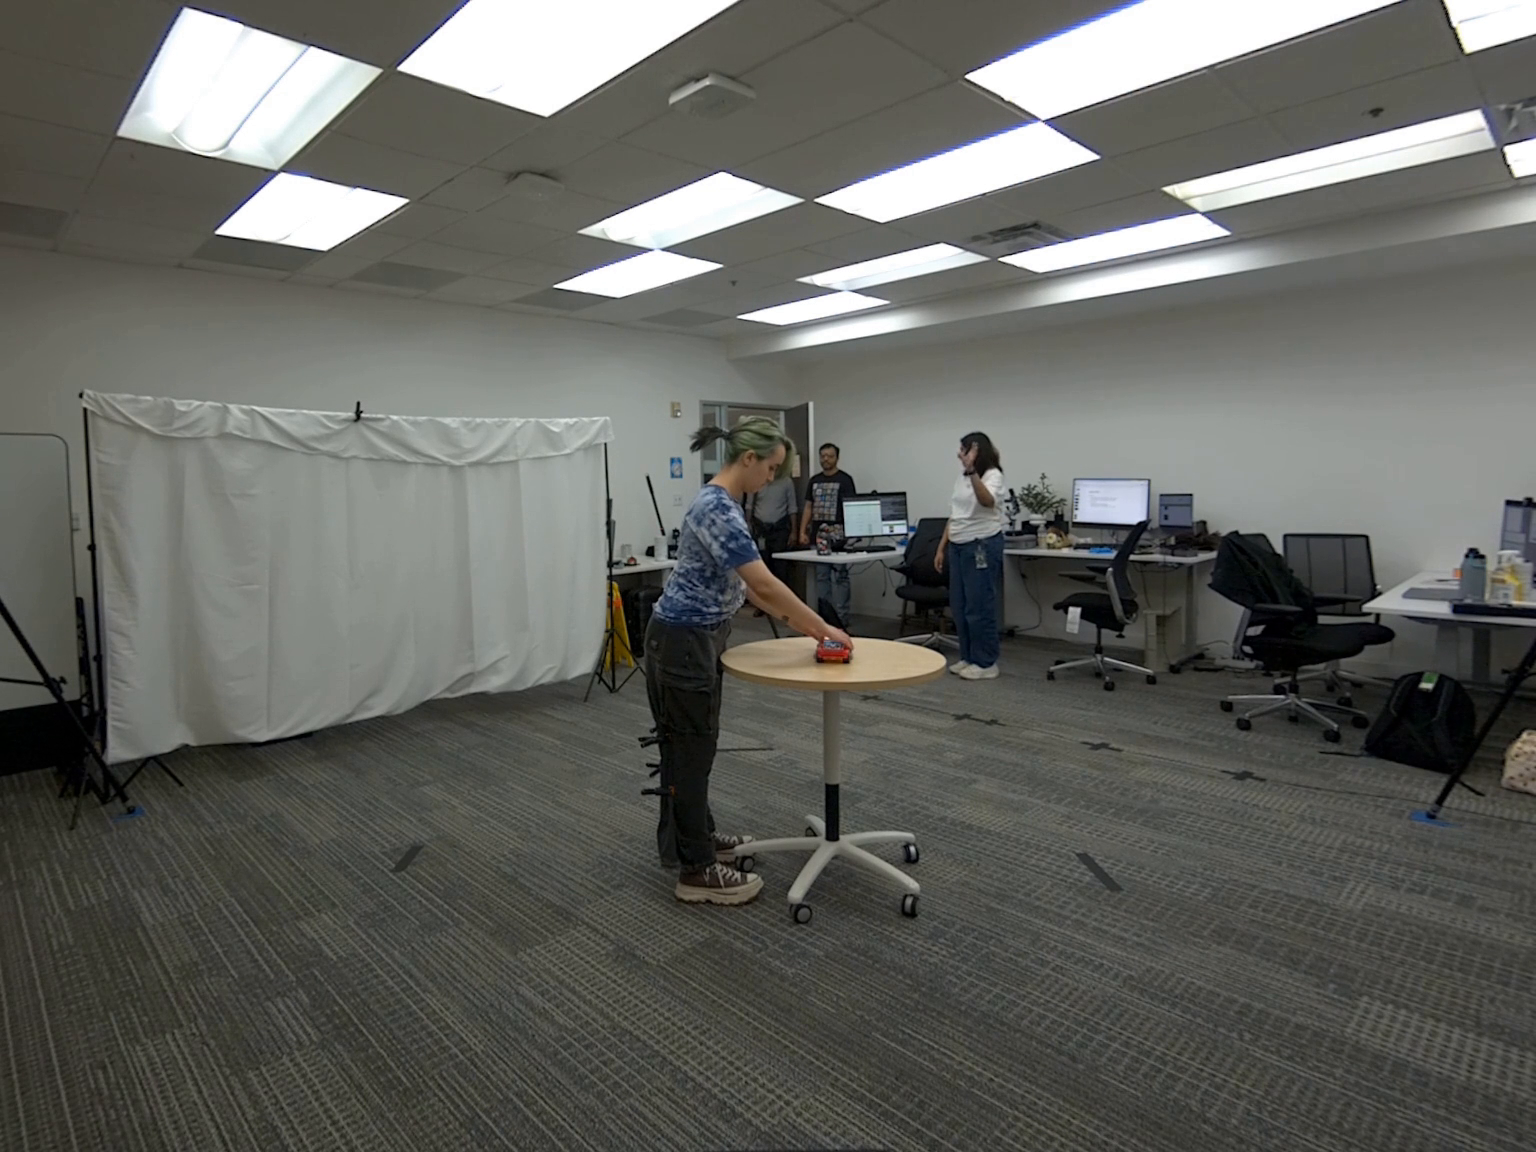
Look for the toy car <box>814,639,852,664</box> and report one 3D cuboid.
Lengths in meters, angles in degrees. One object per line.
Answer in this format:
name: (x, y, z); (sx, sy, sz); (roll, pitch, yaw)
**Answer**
toy car: (0.224, 0.249, 2.933); (0.131, 0.082, 0.255); (1, 13, 9)
